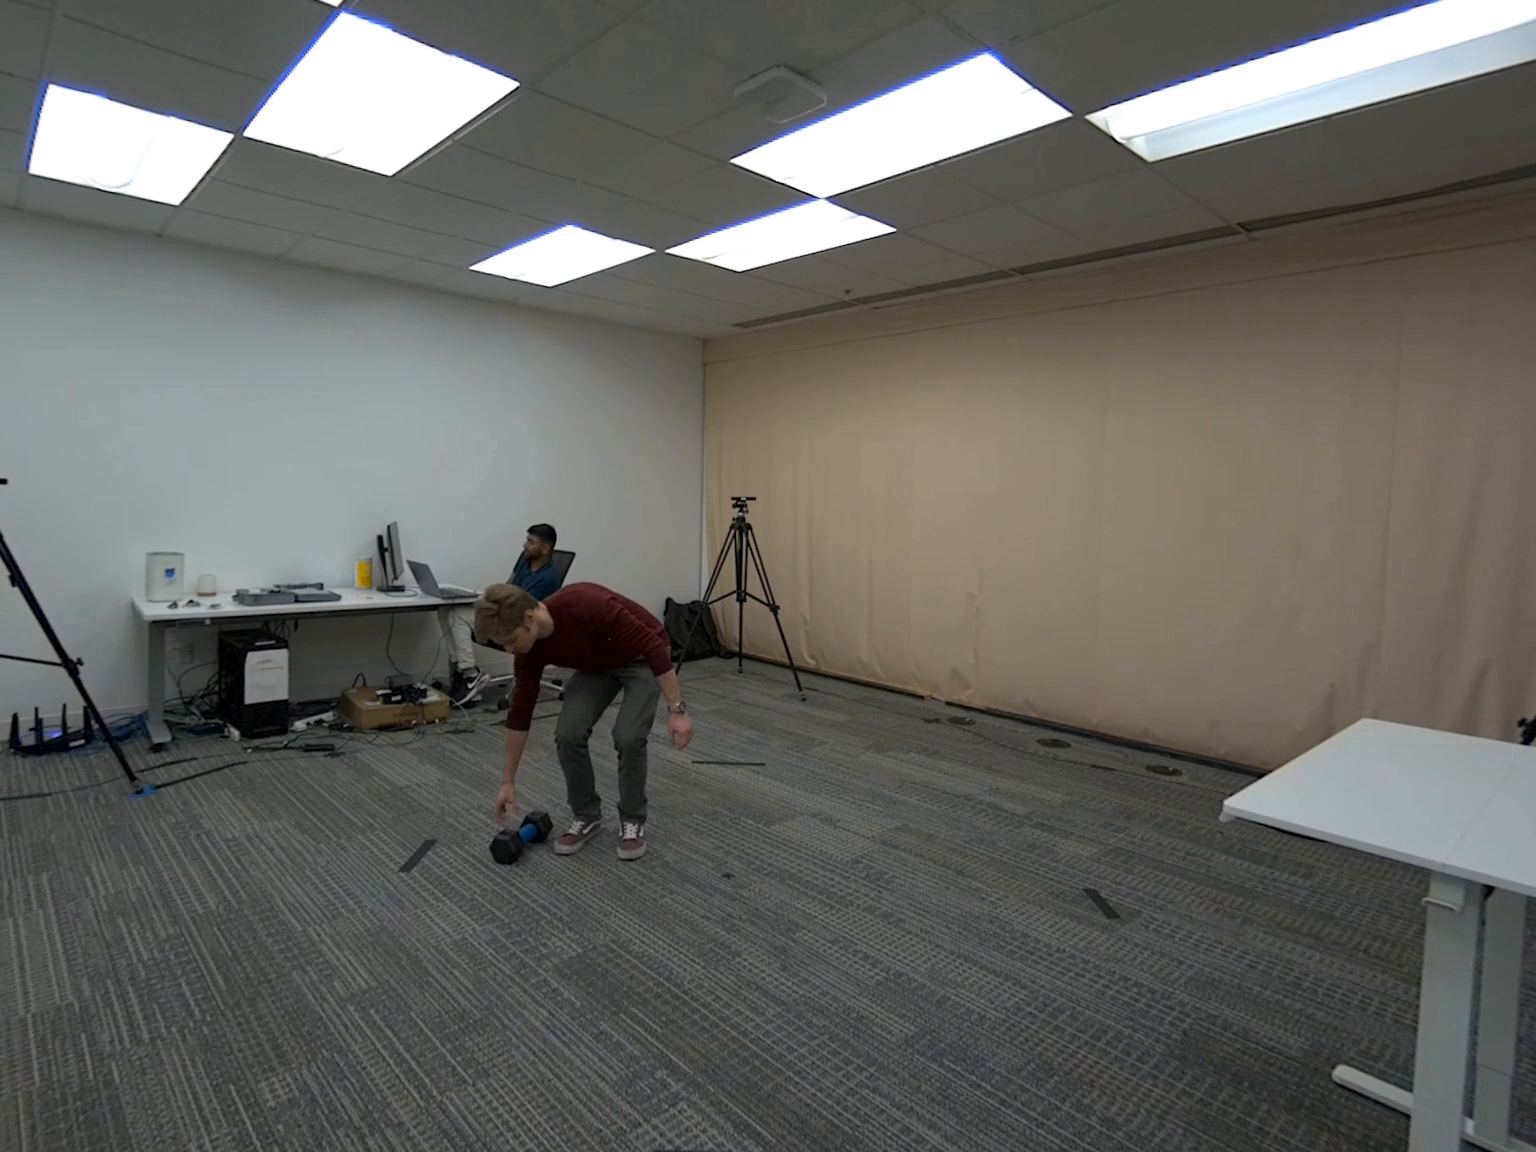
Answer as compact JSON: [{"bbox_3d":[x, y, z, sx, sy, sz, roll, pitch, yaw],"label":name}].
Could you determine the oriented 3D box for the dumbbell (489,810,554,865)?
[{"bbox_3d":[-0.967,1.018,3.288,0.109,0.123,0.290,-29,-3,16],"label":"dumbbell"}]
